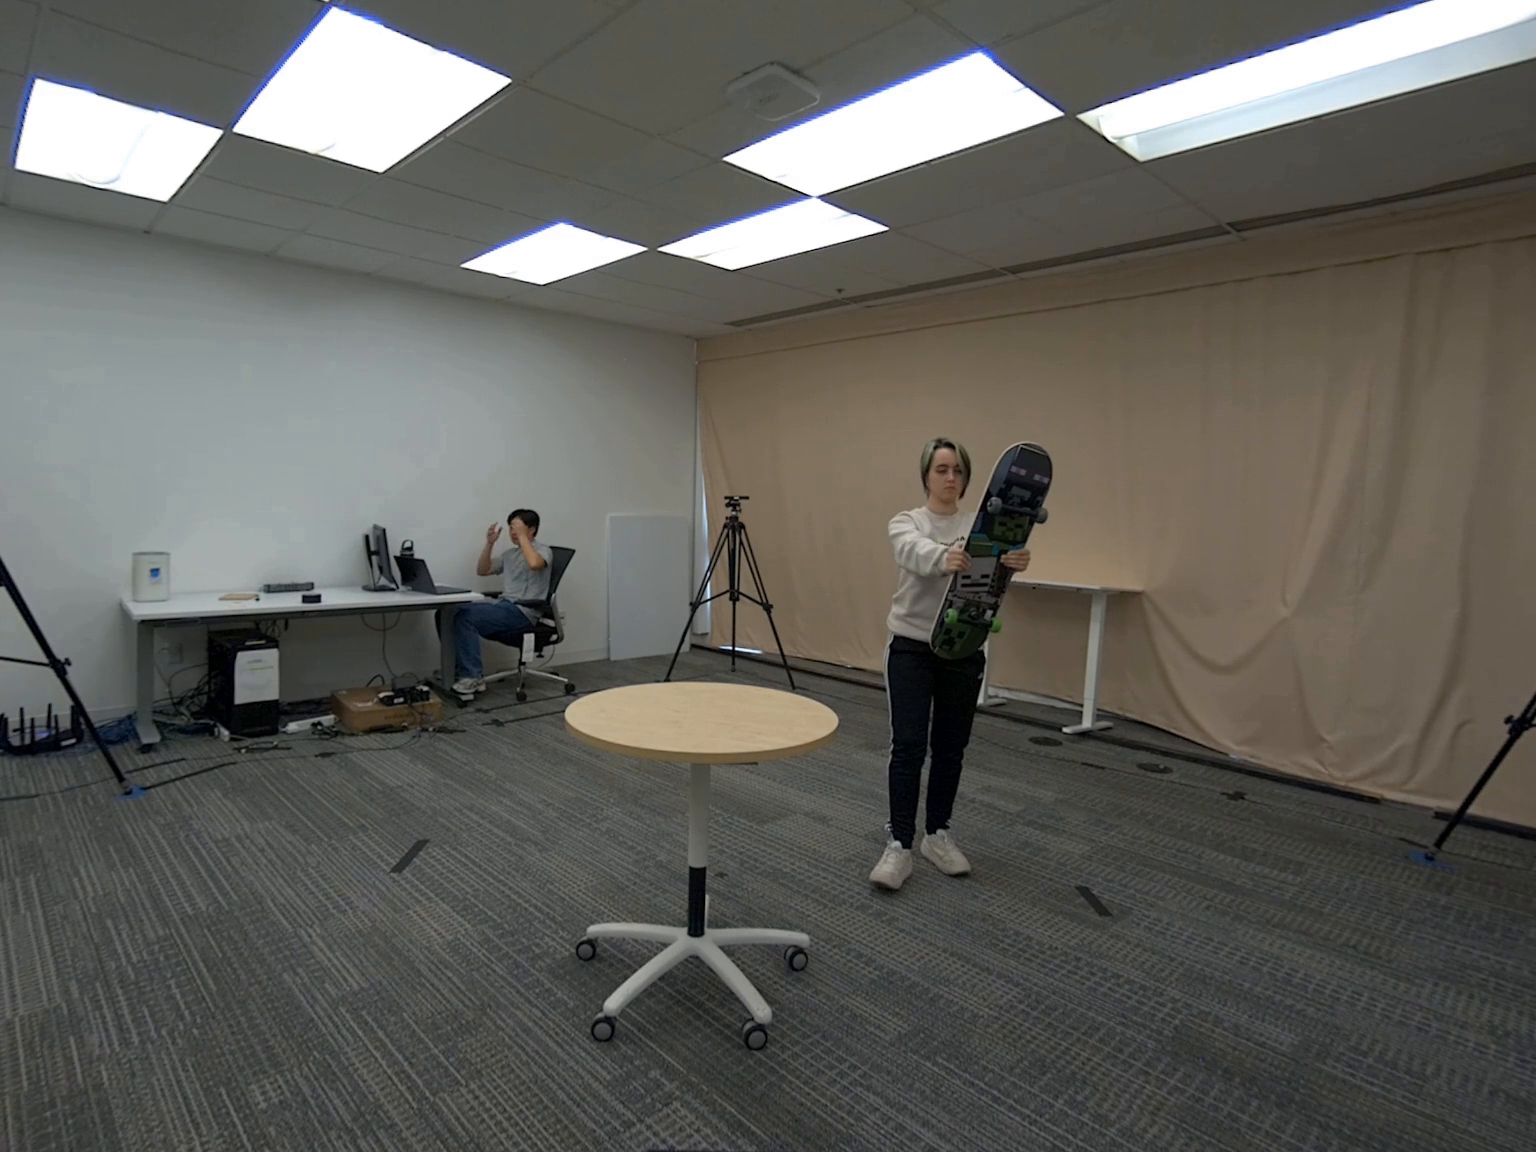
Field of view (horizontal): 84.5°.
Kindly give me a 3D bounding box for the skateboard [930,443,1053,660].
[{"bbox_3d":[0.709,-0.042,2.683,0.192,0.776,0.112,9,23,-10],"label":"skateboard"}]
